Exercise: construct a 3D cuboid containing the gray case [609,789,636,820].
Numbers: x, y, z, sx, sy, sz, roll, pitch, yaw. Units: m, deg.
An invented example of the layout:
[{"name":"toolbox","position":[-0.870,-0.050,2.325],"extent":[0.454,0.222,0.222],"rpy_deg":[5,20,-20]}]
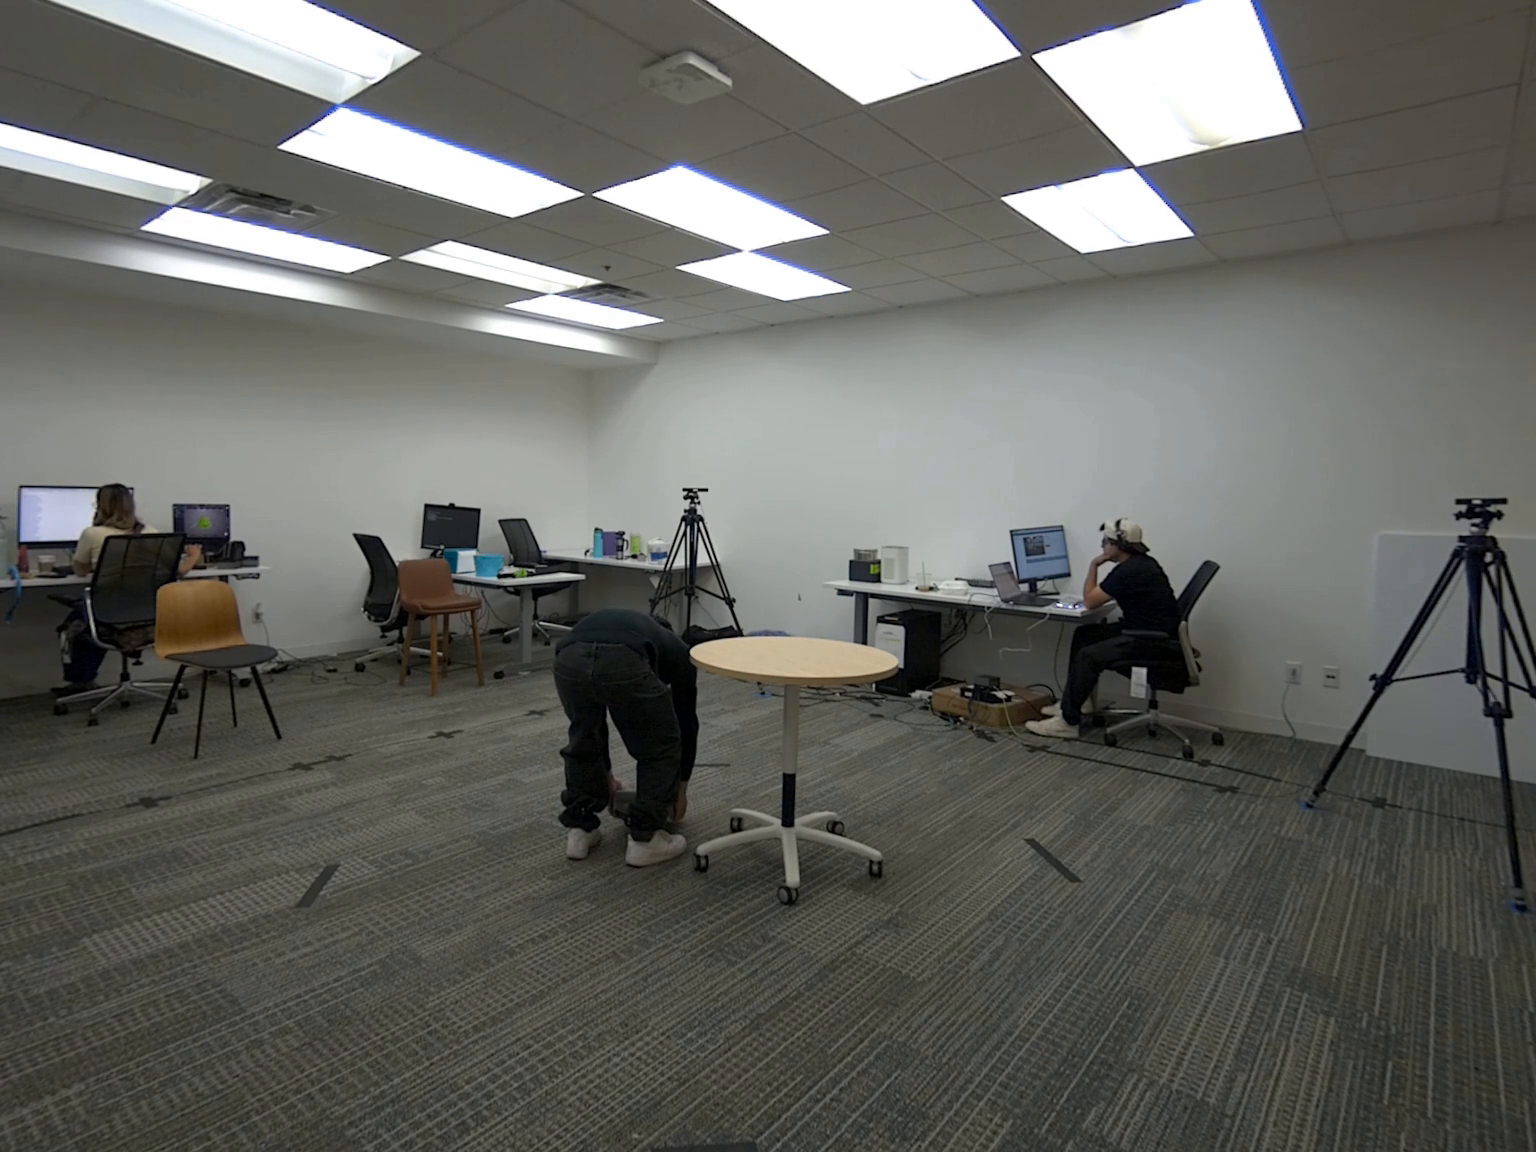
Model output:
[{"name":"gray case","position":[-0.491,0.921,3.483],"extent":[0.260,0.106,0.254],"rpy_deg":[-1,-13,11]}]
